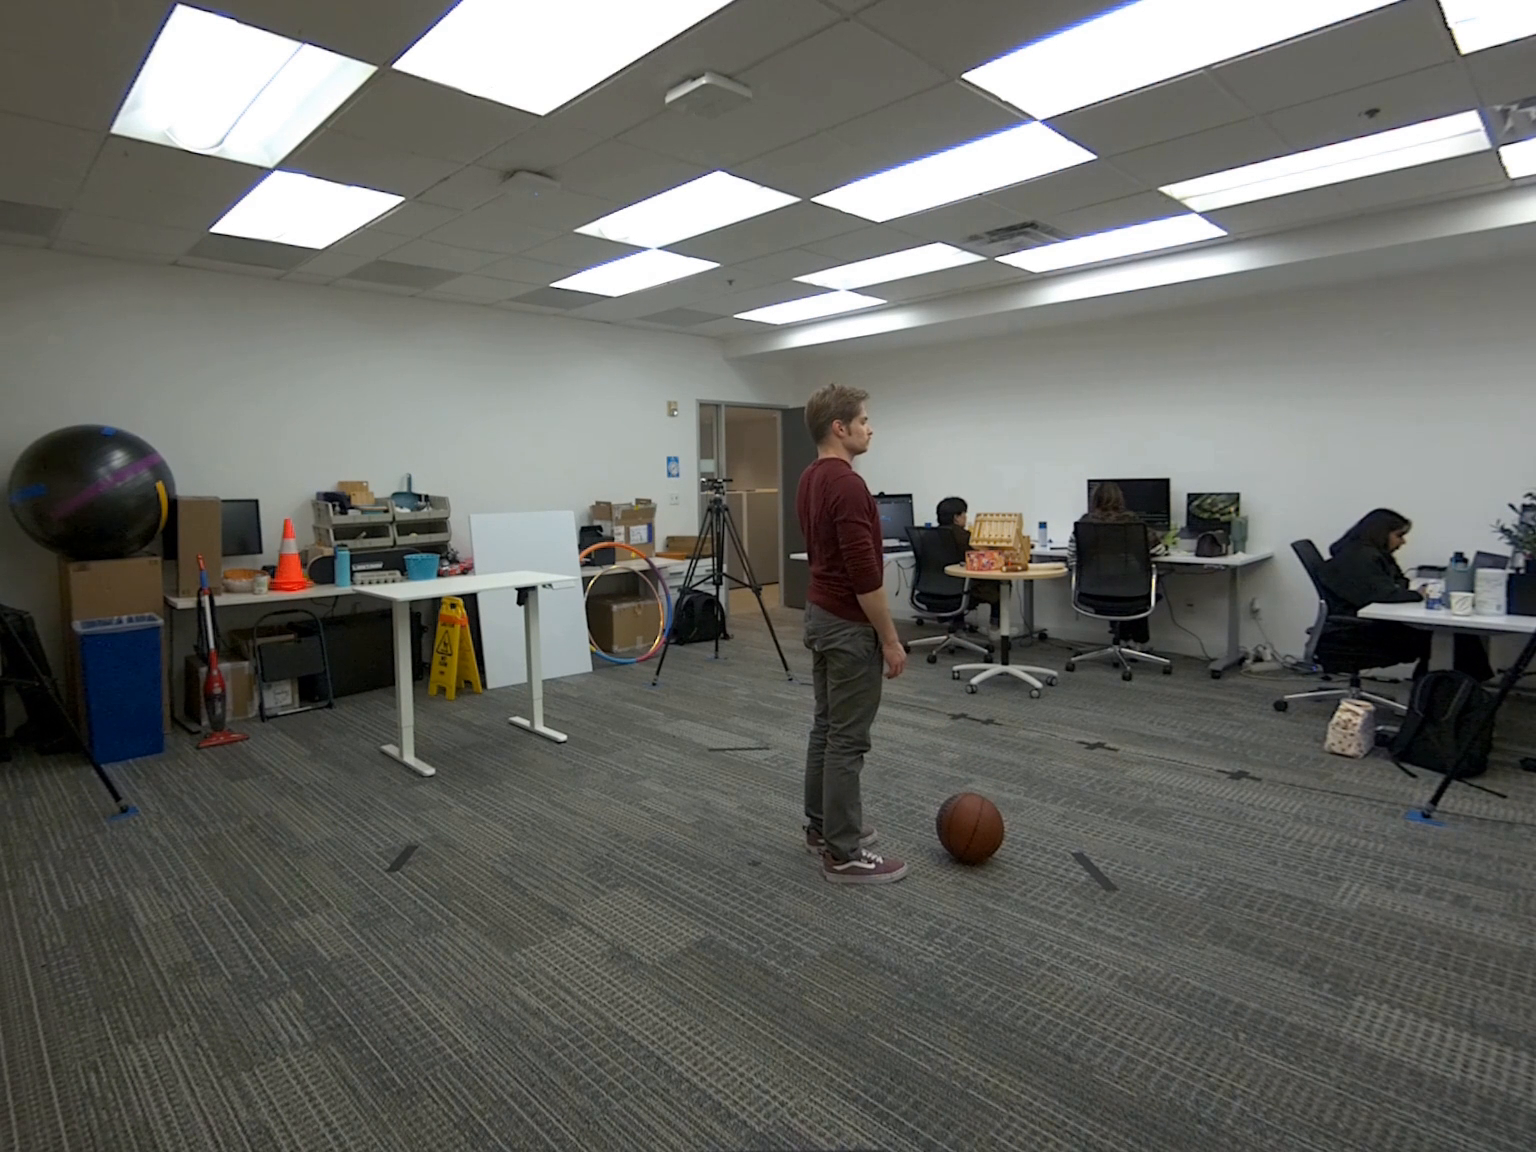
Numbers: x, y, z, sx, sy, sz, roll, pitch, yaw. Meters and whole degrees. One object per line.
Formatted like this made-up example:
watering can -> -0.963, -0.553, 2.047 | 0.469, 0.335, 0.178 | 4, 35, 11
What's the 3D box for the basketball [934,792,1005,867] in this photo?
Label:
basketball -> 0.729, 0.907, 3.100 | 0.236, 0.235, 0.237 | -1, 5, -2
